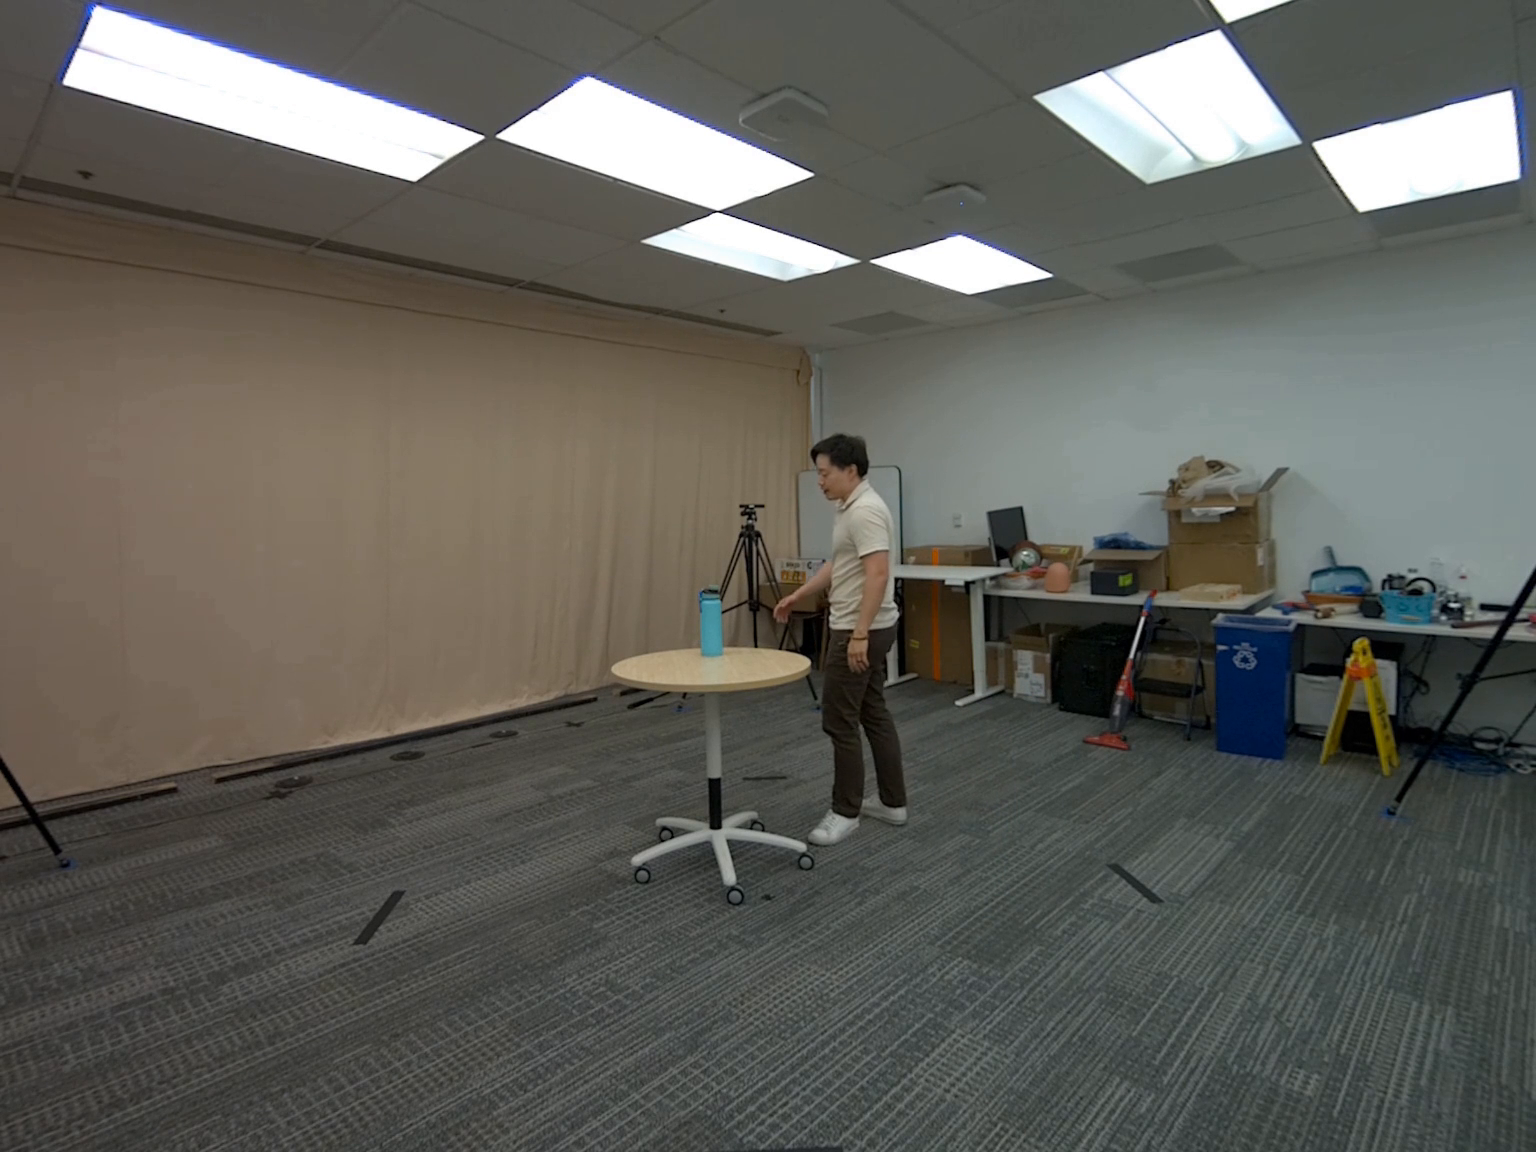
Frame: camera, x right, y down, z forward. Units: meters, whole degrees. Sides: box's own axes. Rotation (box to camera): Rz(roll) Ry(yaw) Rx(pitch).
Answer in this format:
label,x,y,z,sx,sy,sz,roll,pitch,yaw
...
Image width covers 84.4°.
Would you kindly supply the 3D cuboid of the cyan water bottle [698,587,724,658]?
label,x,y,z,sx,sy,sz,roll,pitch,yaw
cyan water bottle,-0.231,0.185,3.451,0.092,0.283,0.092,-4,3,-2
